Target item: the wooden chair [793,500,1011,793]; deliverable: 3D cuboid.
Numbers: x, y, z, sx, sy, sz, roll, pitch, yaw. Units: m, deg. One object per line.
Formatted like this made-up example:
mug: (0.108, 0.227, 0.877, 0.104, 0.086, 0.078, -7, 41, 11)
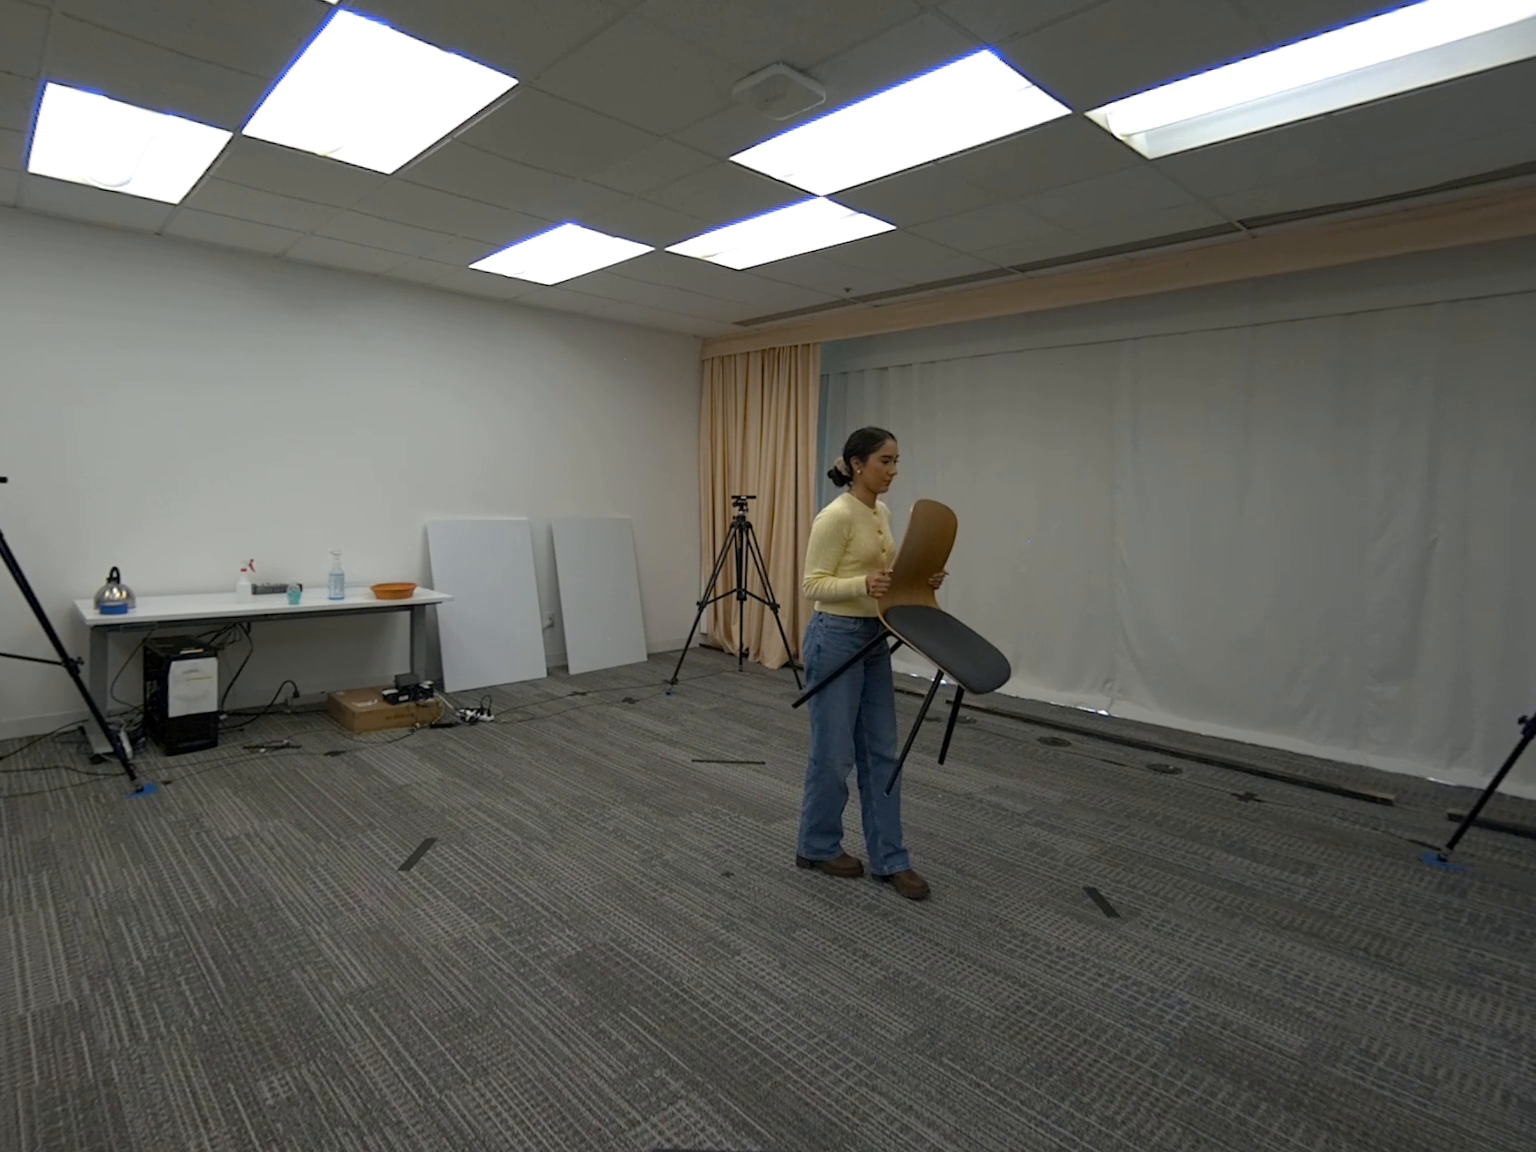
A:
wooden chair: (0.559, 0.243, 2.910, 0.538, 0.872, 0.467, 35, 20, 30)
